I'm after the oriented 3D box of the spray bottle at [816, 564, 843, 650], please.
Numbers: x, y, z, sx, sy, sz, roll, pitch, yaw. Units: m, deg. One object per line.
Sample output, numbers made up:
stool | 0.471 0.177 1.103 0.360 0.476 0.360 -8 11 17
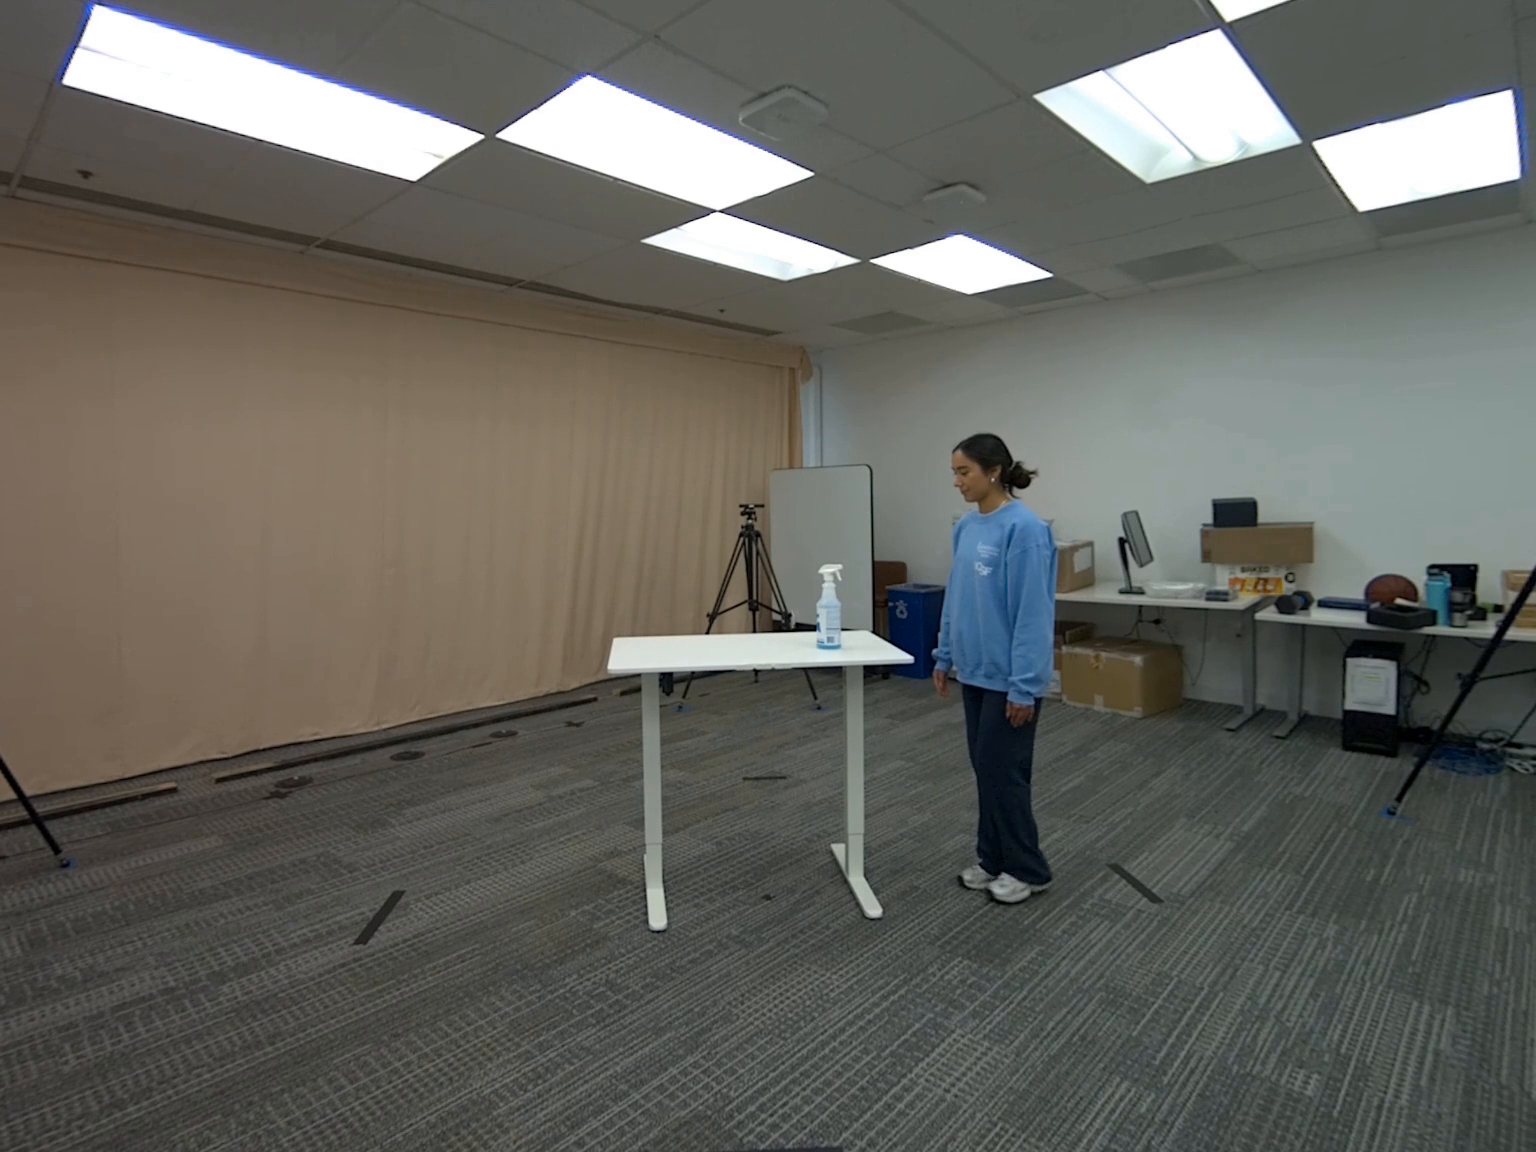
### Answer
spray bottle | 0.223 0.111 2.982 0.085 0.296 0.093 -2 5 -30
